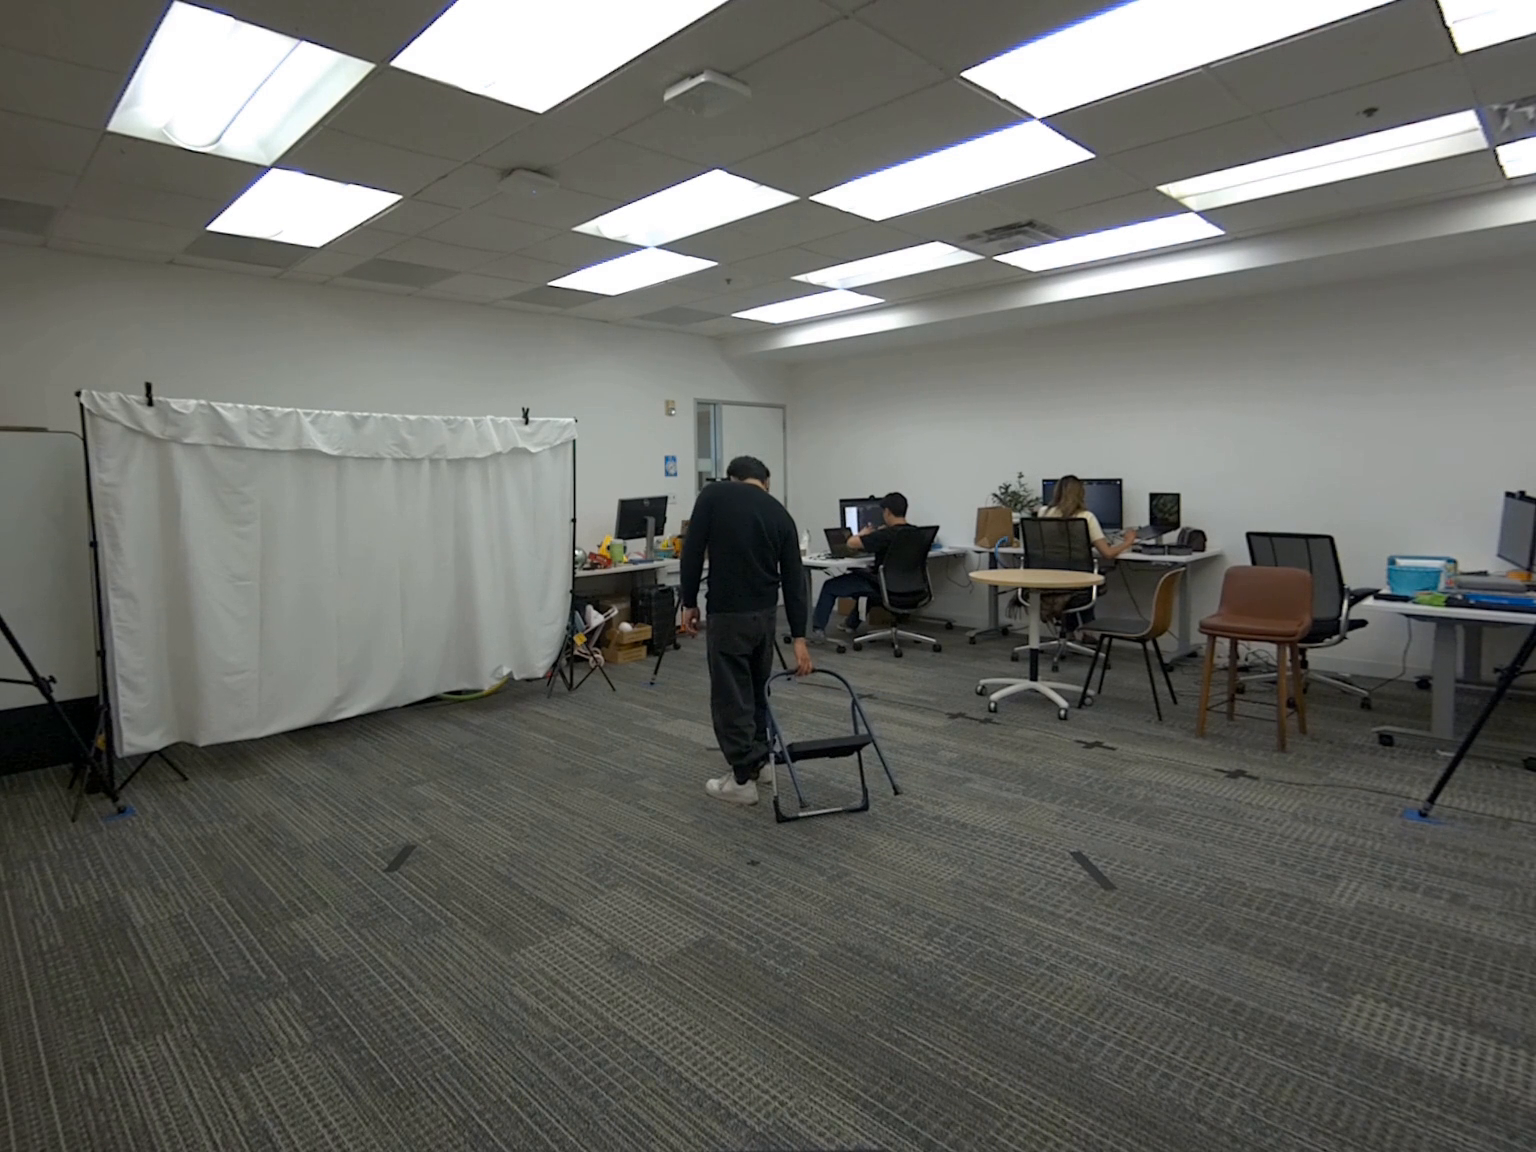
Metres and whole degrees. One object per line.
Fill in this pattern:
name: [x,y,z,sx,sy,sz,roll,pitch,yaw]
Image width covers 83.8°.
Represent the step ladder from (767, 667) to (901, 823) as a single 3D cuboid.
step ladder: [0.223,0.651,3.519,0.423,0.622,0.346,-2,-27,-19]
